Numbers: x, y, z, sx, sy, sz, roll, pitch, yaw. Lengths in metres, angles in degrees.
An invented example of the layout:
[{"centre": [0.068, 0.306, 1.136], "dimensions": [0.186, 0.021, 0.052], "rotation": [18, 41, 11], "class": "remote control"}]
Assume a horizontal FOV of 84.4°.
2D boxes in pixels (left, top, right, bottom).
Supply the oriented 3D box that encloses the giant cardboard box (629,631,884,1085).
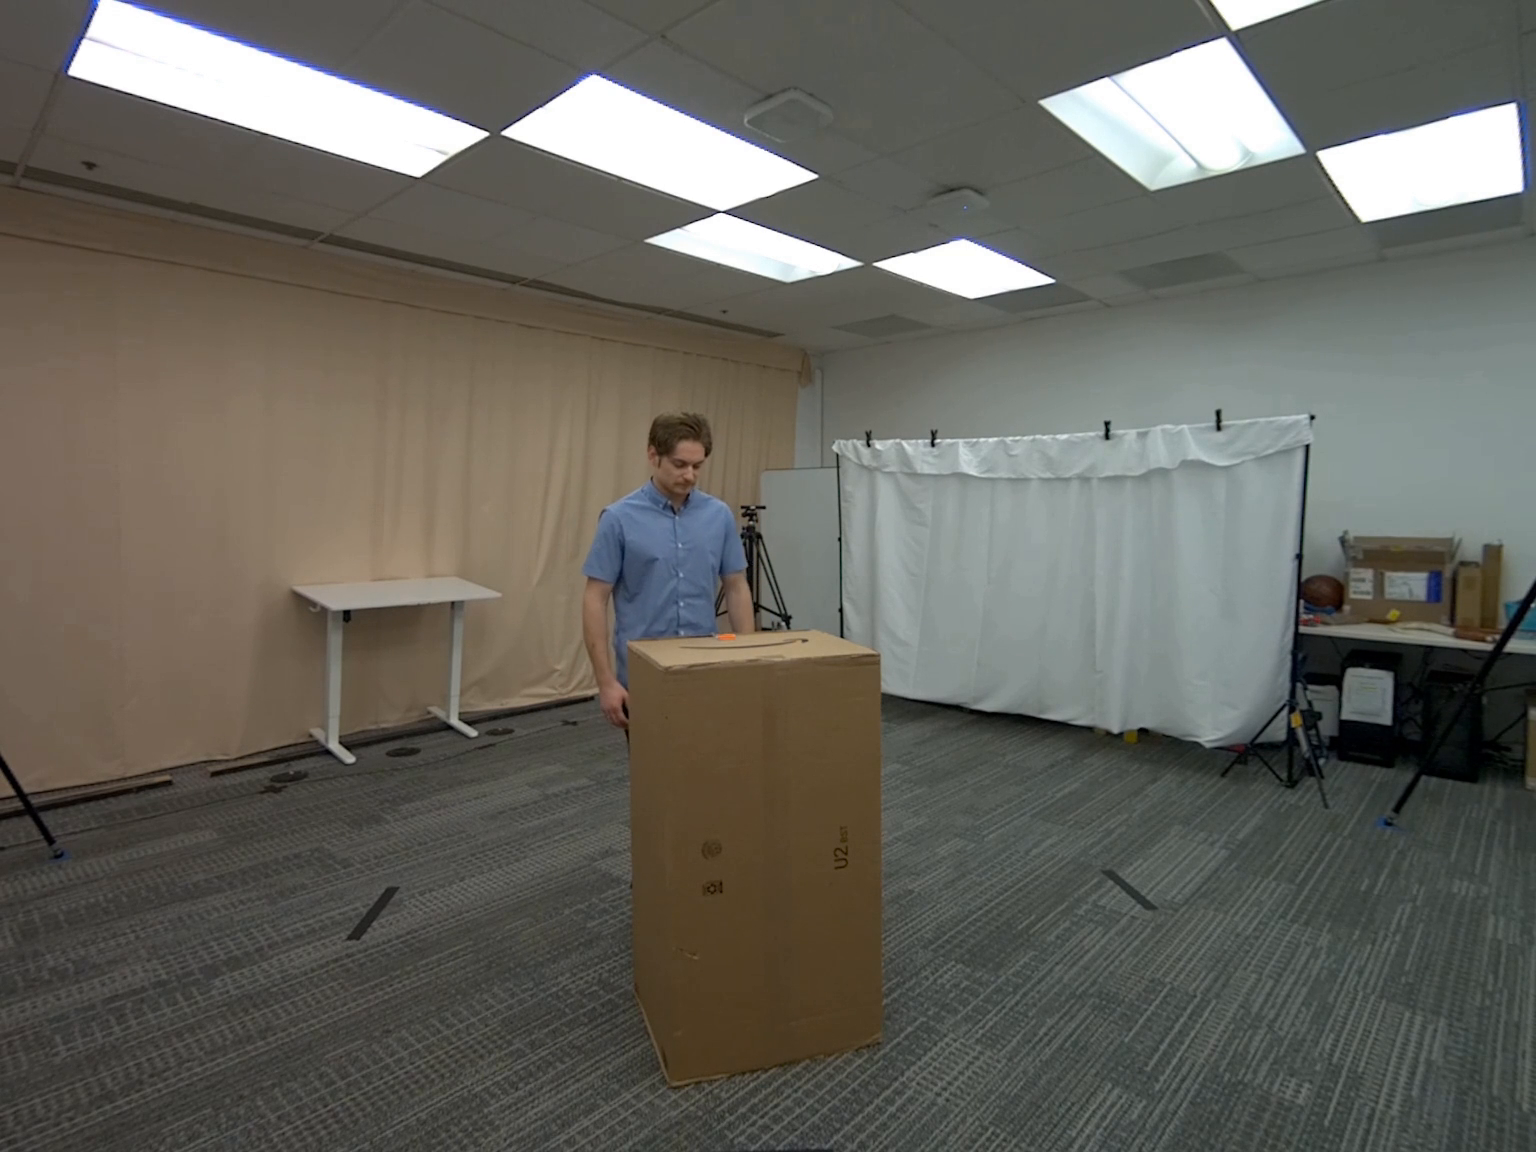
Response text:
[{"centre": [-0.043, 0.699, 2.266], "dimensions": [0.573, 1.024, 0.457], "rotation": [-2, 4, -20], "class": "giant cardboard box"}]
